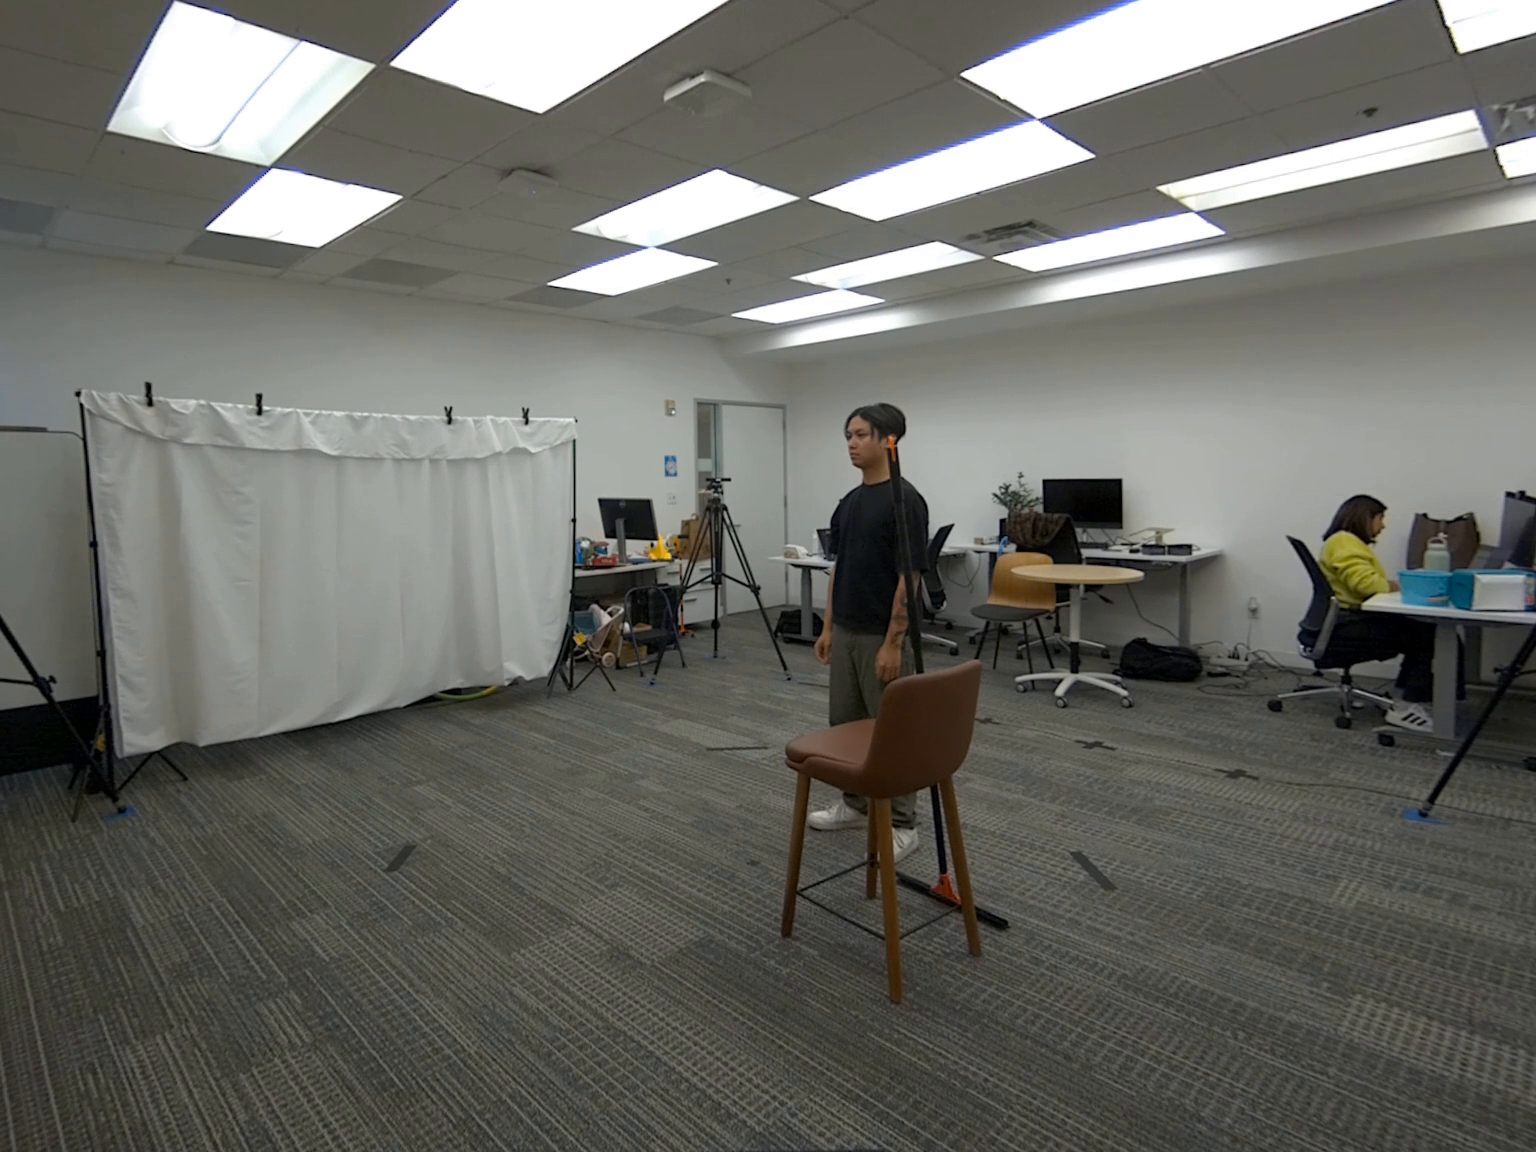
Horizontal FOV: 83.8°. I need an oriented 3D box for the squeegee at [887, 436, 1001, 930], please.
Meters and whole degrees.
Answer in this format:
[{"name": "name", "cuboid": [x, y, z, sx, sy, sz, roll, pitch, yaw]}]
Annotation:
[{"name": "squeegee", "cuboid": [0.474, 0.325, 2.644, 0.052, 1.521, 0.450, -11, 12, -28]}]
